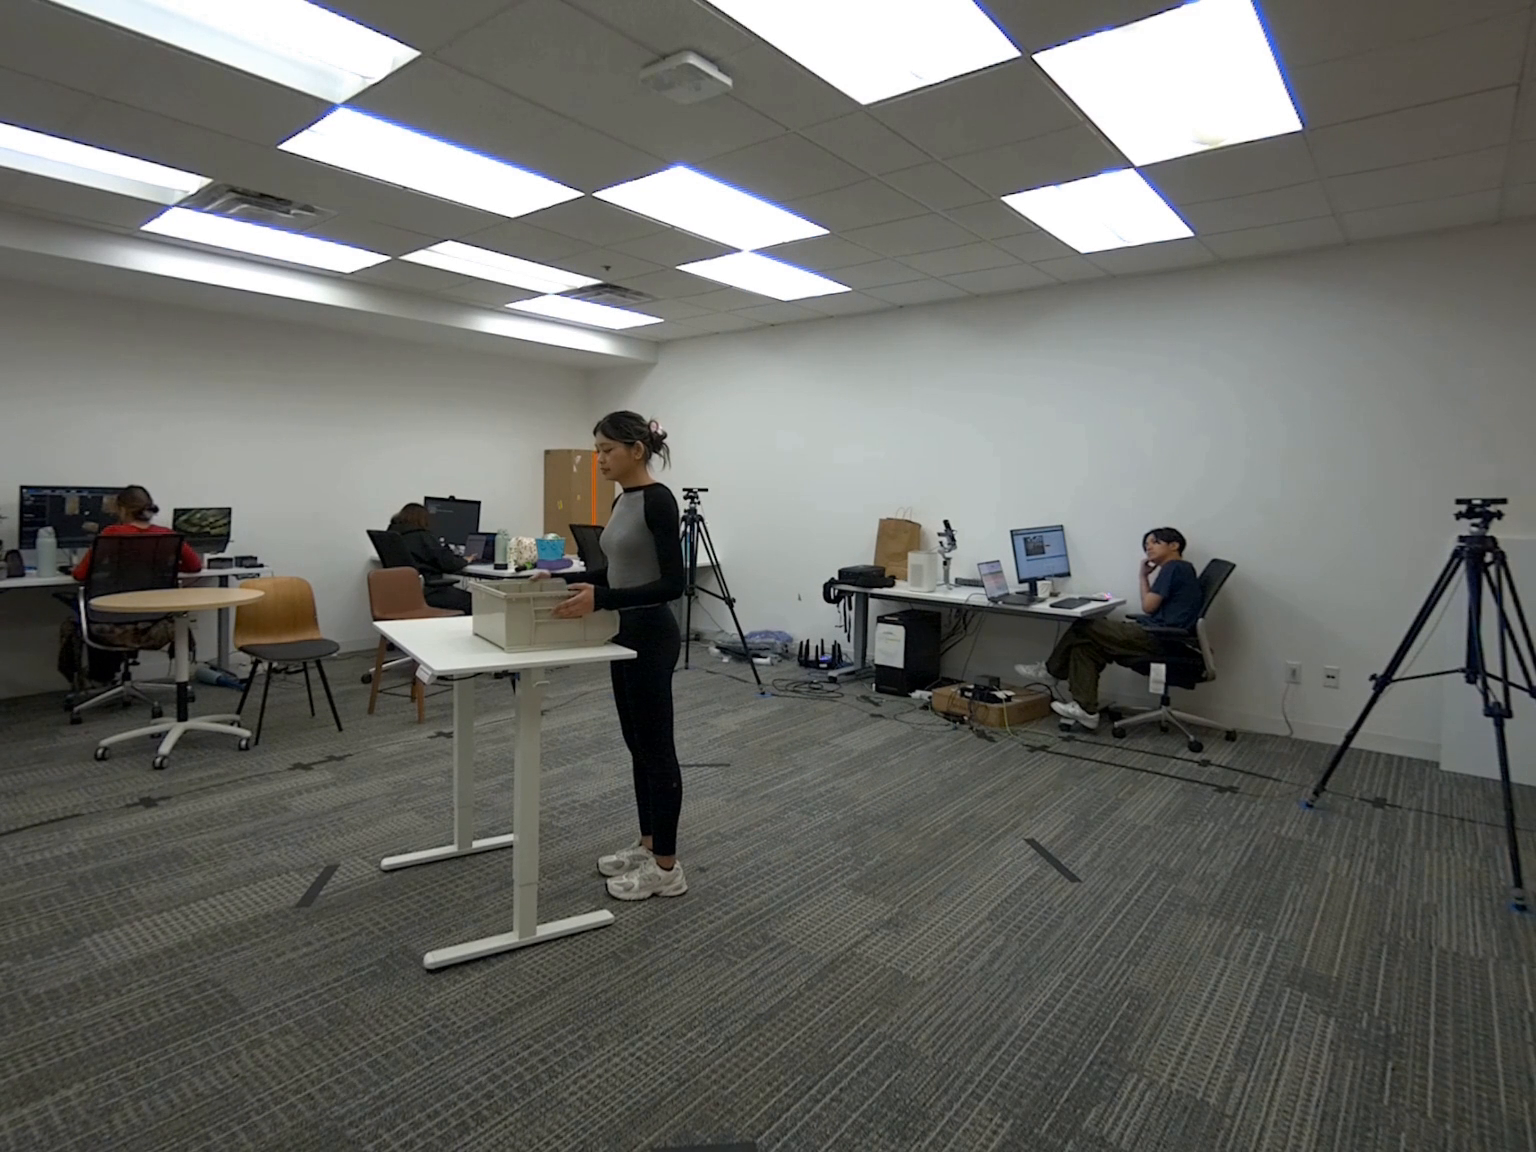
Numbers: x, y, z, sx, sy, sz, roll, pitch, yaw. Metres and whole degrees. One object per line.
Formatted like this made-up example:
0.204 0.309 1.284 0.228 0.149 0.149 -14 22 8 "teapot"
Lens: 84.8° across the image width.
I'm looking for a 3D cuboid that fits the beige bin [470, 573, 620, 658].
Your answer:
-0.746 0.117 2.803 0.367 0.188 0.436 -5 7 -32 "beige bin"
